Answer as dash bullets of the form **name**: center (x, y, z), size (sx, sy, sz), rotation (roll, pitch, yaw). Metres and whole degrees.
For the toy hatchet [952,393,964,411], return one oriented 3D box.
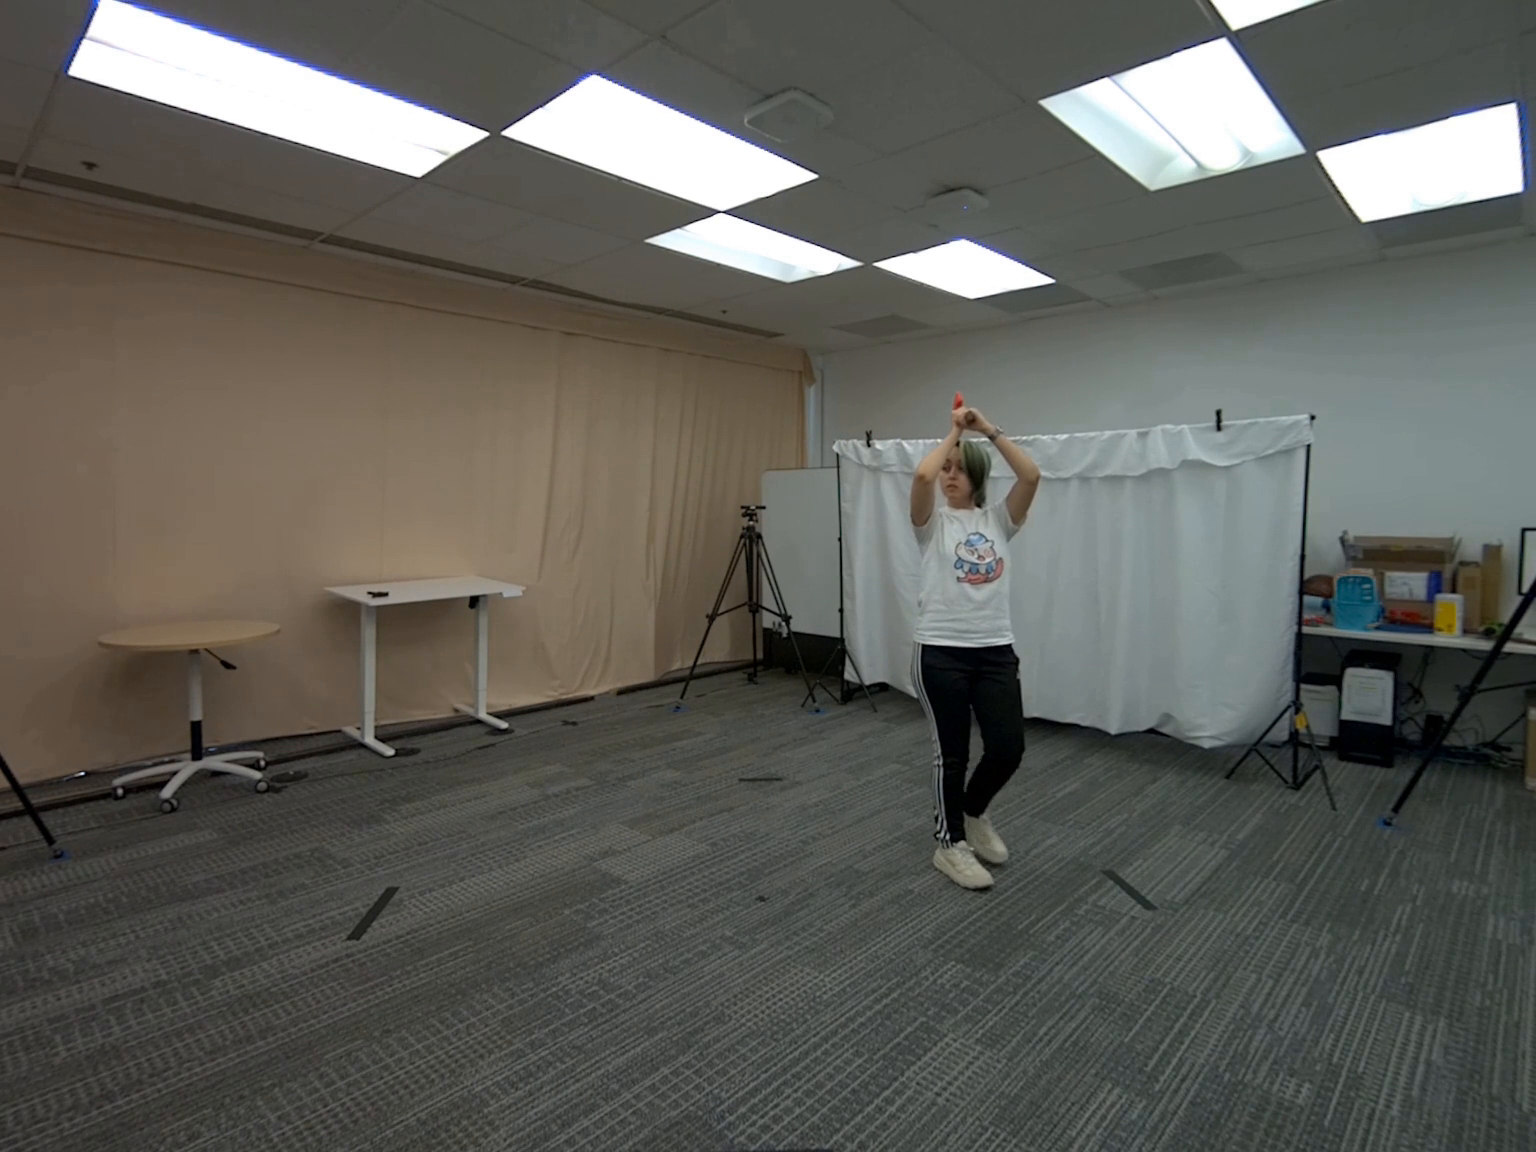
- **toy hatchet**: center (0.725, -0.621, 3.049), size (0.029, 0.131, 0.270), rotation (-2, 3, -1)
